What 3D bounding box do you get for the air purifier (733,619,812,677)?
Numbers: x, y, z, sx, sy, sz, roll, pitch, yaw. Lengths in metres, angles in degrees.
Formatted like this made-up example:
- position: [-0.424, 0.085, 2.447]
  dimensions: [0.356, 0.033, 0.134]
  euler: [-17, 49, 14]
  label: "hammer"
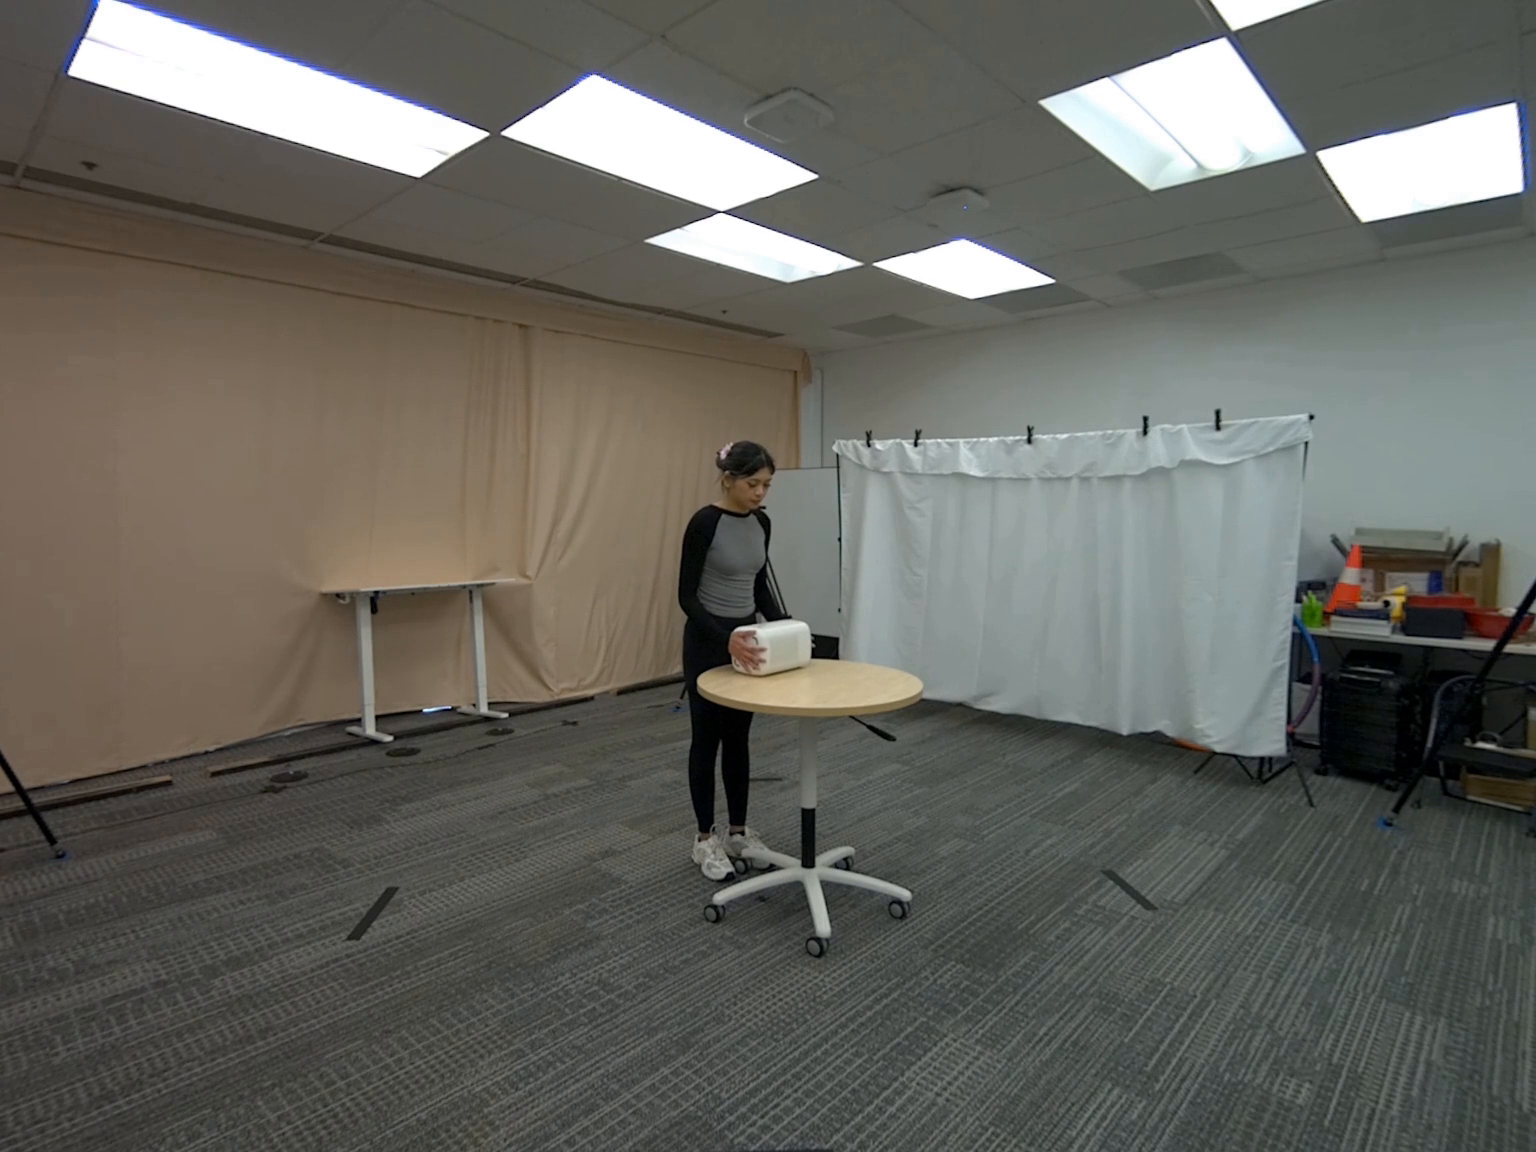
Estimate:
- position: [0.015, 0.255, 3.038]
  dimensions: [0.177, 0.171, 0.257]
  euler: [3, 5, 42]
  label: "air purifier"
